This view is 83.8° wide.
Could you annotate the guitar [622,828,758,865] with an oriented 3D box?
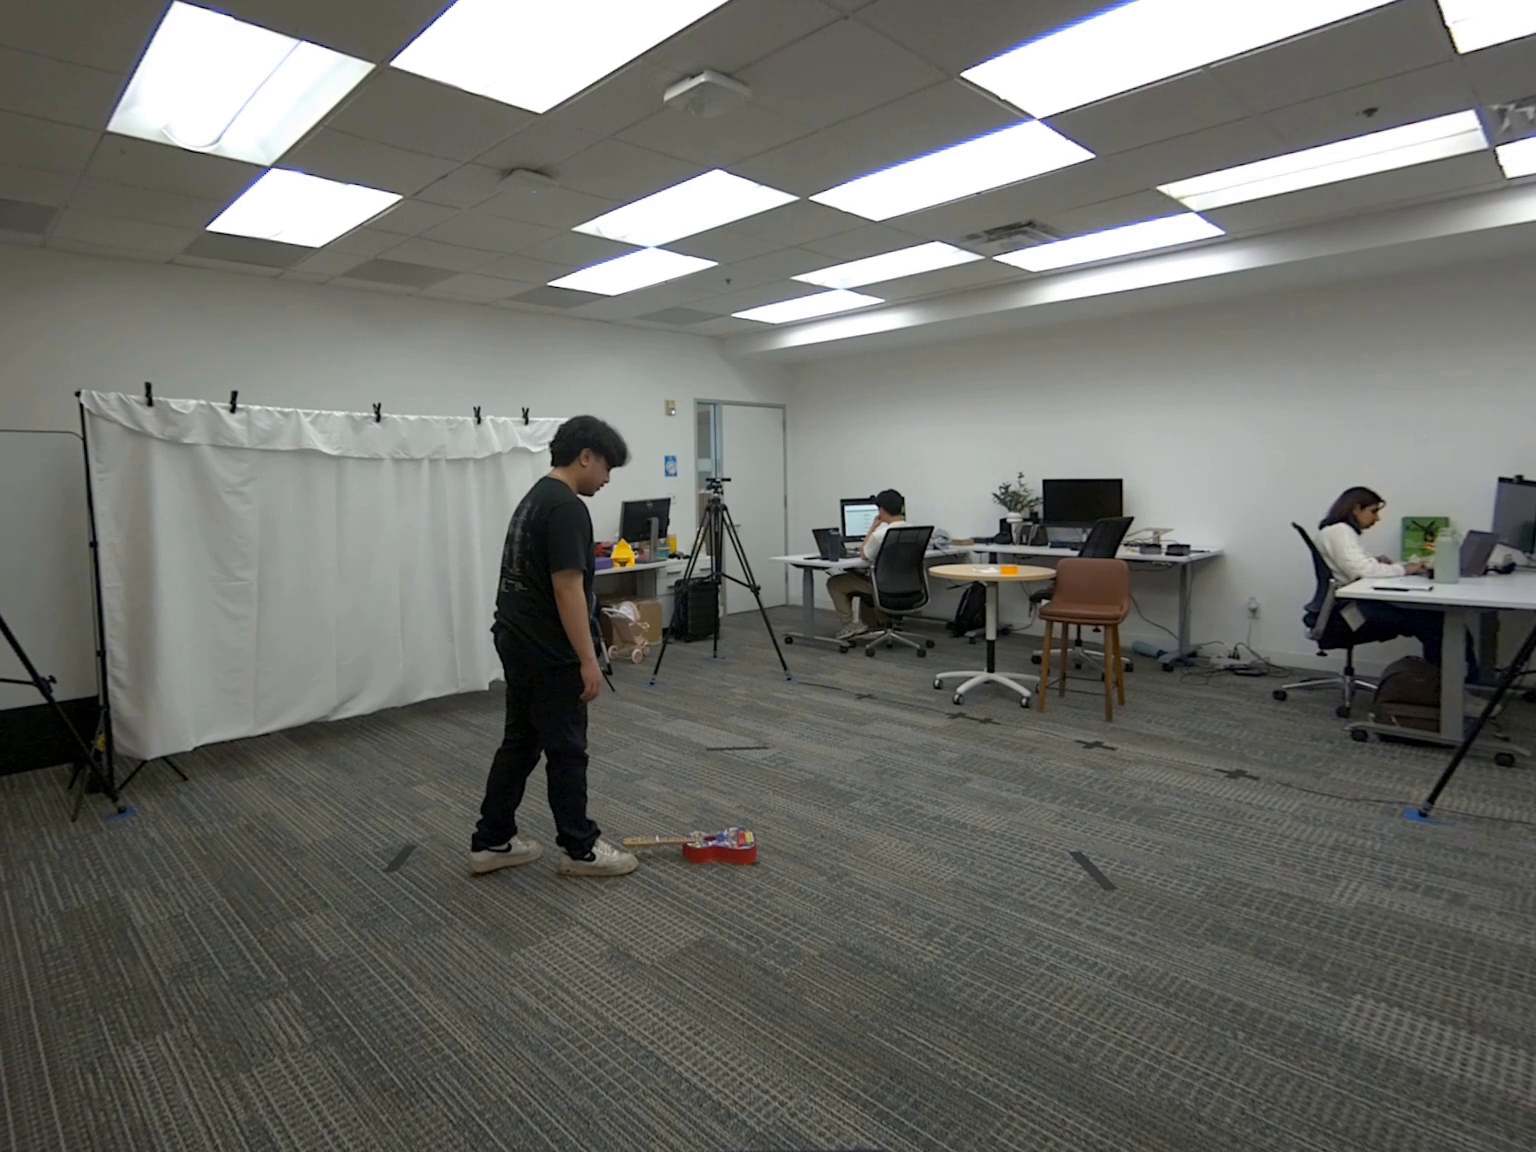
[{"bbox_3d":[-0.286,1.000,3.203,0.500,0.070,0.193,0,7,5],"label":"guitar"}]
